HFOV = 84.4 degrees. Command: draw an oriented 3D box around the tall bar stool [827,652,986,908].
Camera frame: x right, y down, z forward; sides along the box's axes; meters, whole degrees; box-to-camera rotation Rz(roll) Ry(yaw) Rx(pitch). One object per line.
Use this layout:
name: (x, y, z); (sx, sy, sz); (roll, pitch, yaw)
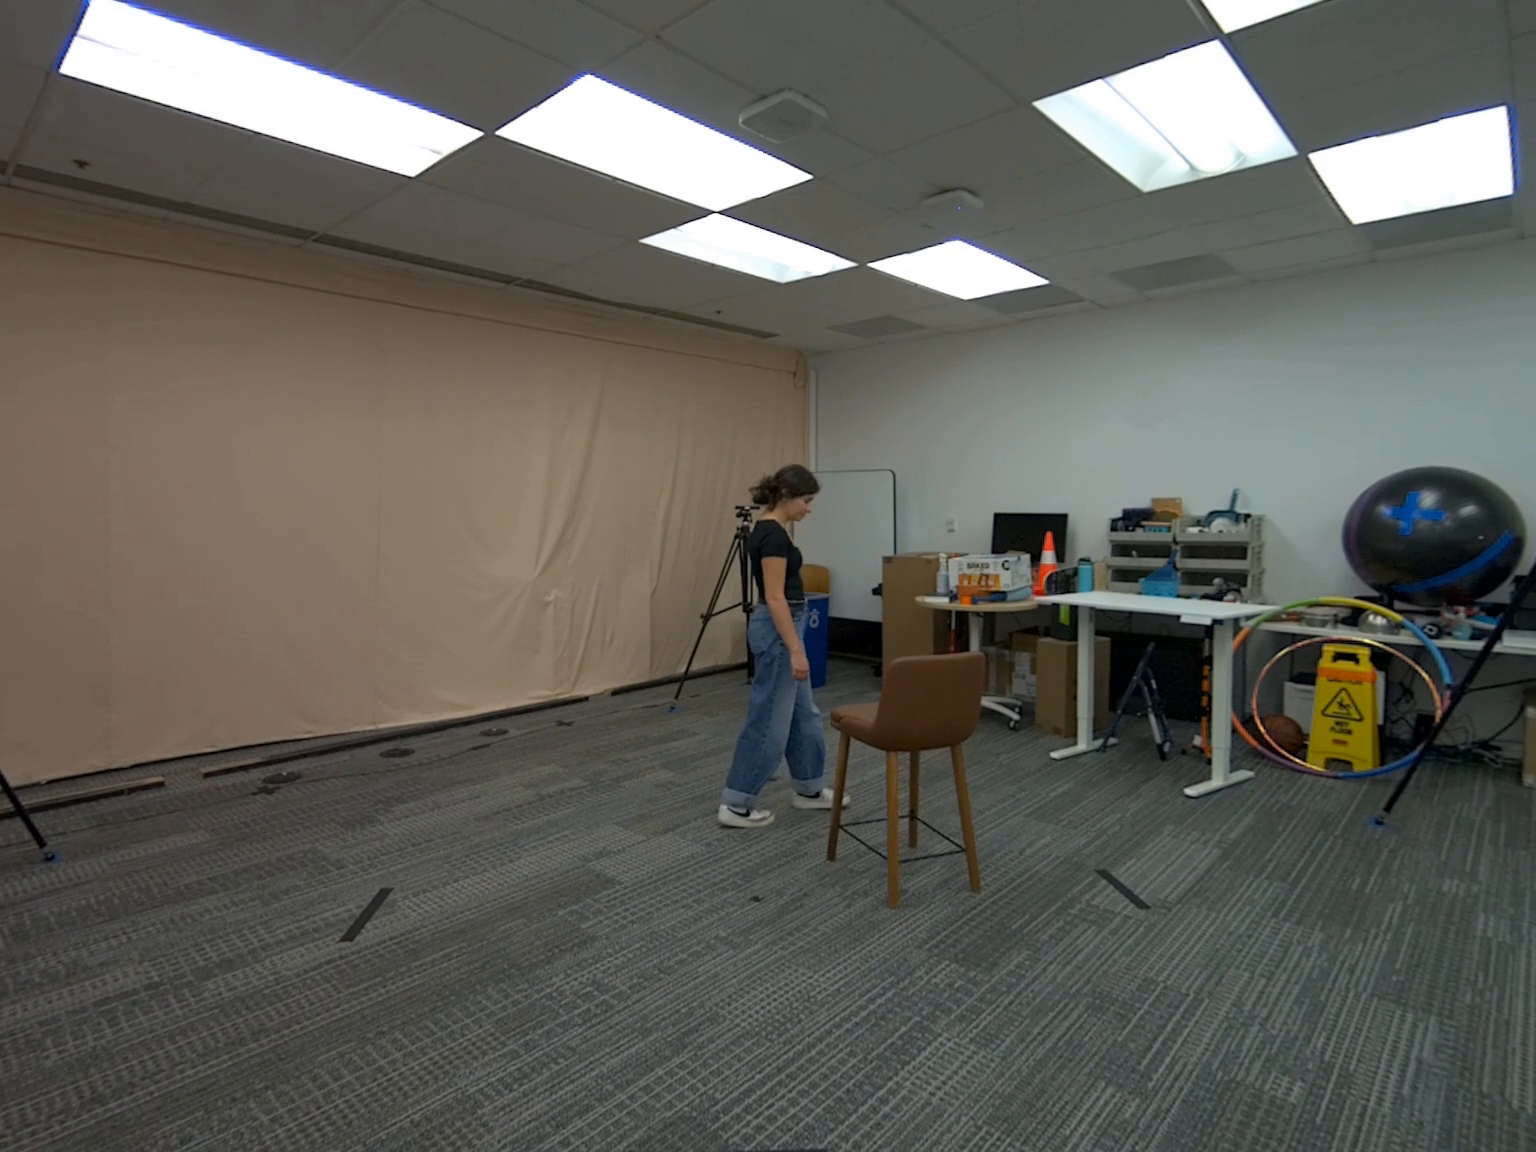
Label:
tall bar stool: (0.517, 0.694, 3.149); (0.446, 0.887, 0.479); (-1, 5, -24)
